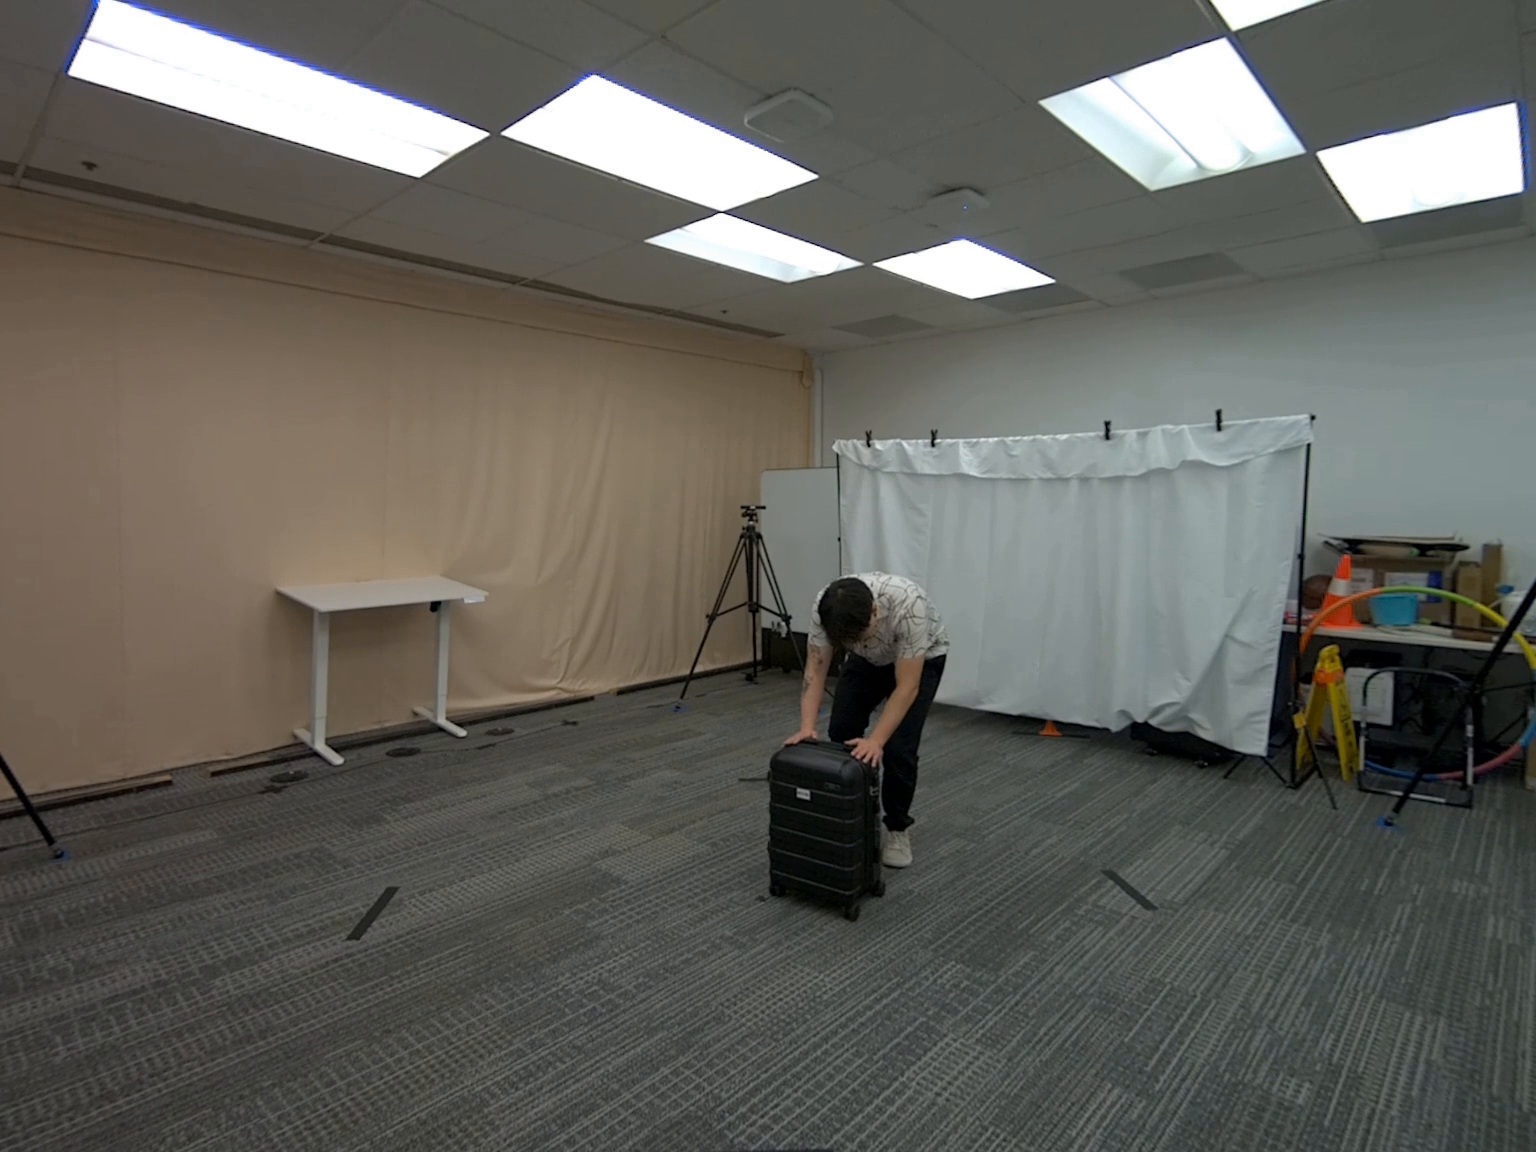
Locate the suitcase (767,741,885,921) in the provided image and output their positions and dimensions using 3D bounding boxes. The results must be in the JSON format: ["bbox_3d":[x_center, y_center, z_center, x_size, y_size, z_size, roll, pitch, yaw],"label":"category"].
[{"bbox_3d":[0.202,0.870,2.968,0.387,0.548,0.241,2,6,35],"label":"suitcase"}]
